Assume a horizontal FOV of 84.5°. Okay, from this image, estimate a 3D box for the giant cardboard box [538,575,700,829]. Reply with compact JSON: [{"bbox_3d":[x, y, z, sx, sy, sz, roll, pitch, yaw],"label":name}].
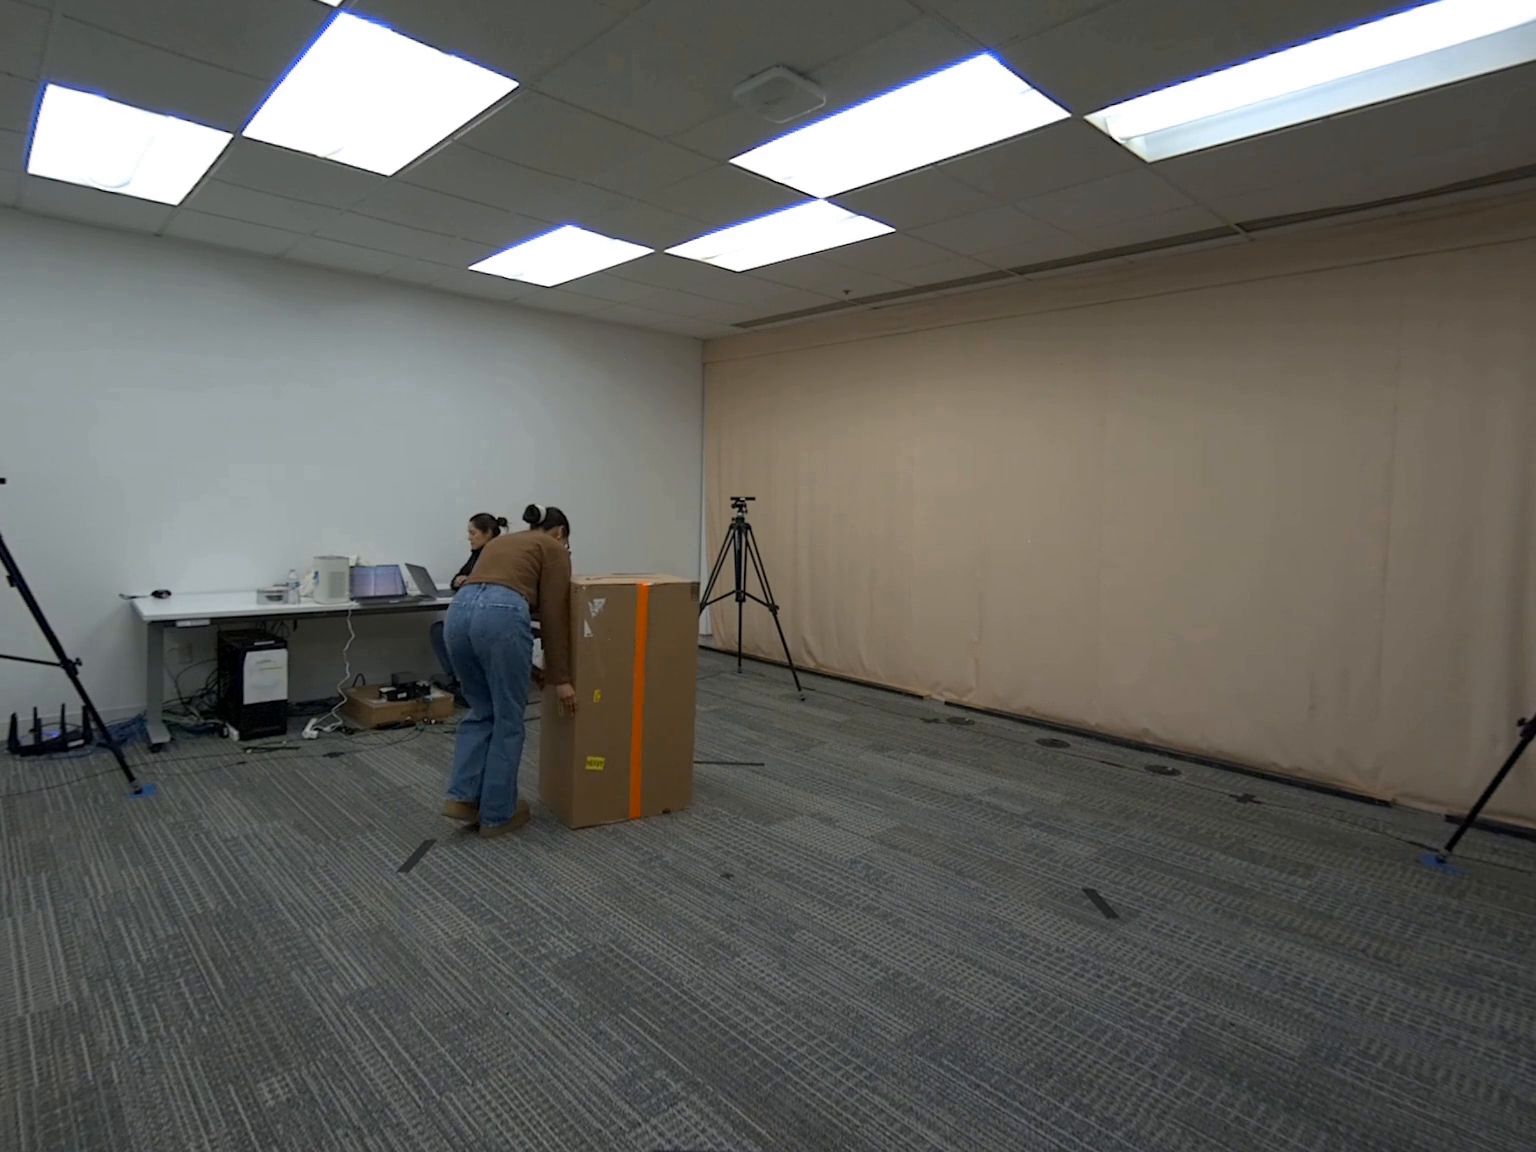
[{"bbox_3d":[-0.680,0.525,3.797,0.565,1.024,0.436,1,3,-33],"label":"giant cardboard box"}]
